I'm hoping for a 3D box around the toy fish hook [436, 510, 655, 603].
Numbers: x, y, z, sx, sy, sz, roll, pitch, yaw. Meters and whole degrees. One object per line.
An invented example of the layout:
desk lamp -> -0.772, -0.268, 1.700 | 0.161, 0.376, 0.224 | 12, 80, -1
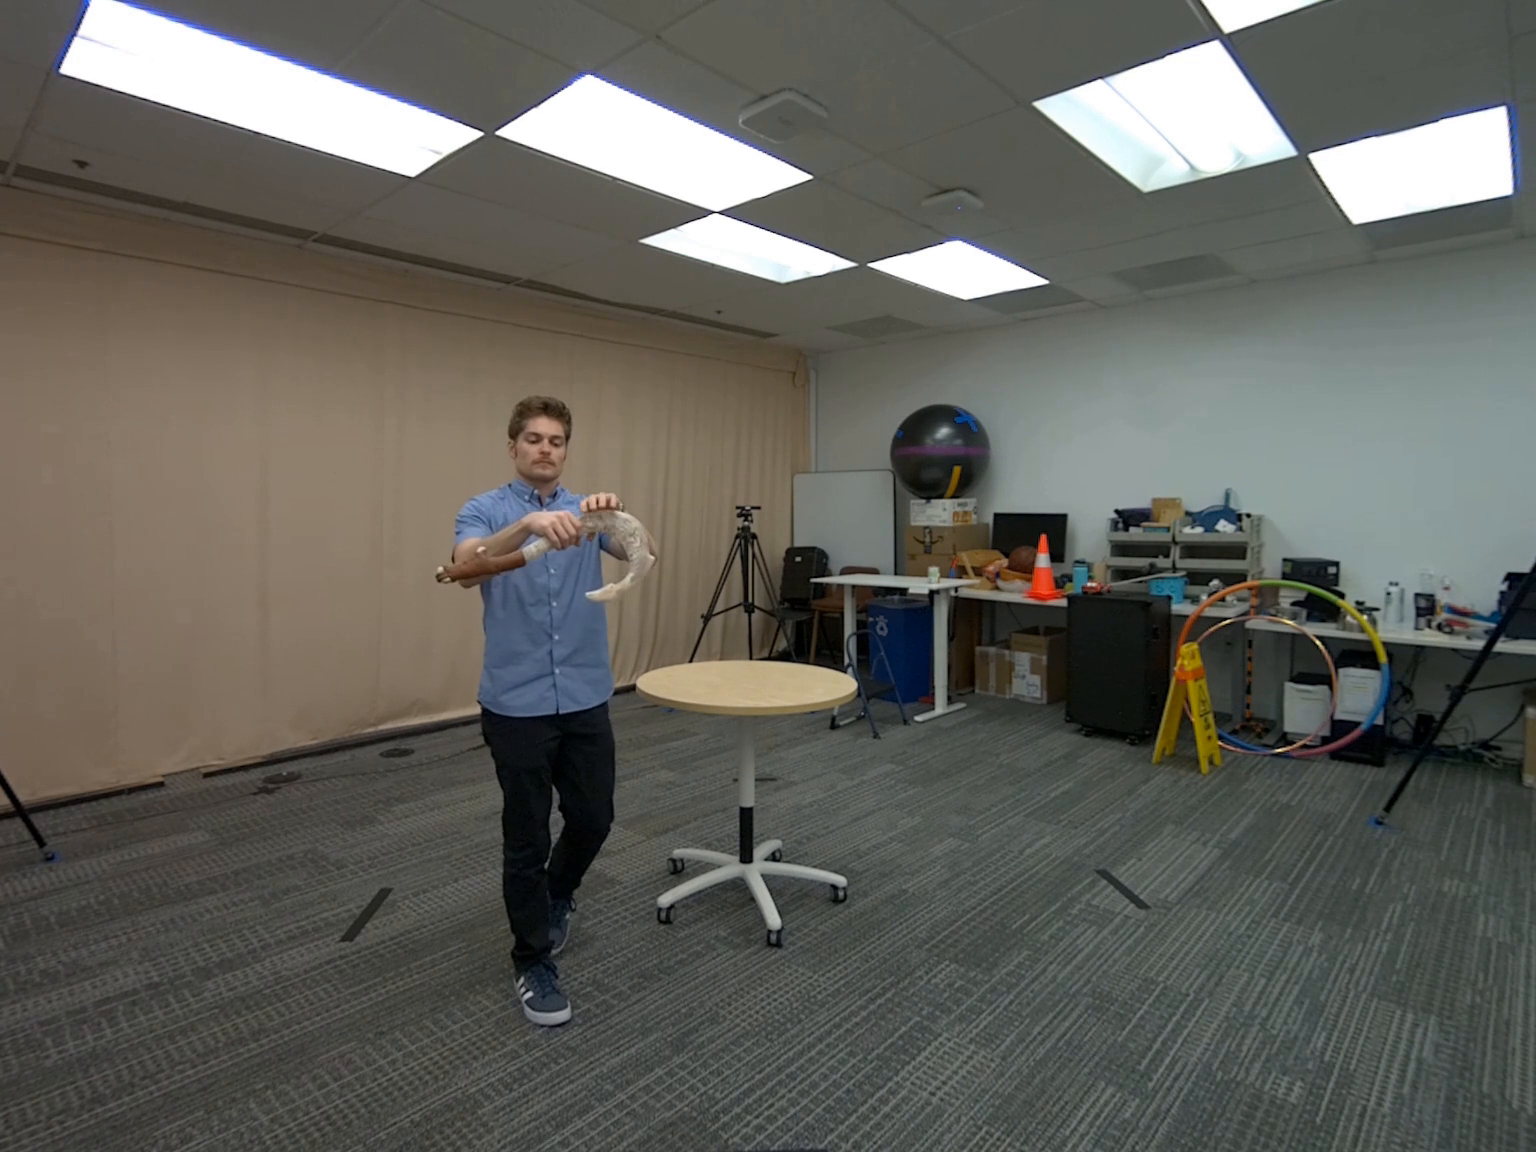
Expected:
toy fish hook -> -0.513, -0.017, 1.978 | 0.497, 0.228, 0.048 | -16, -15, -23
